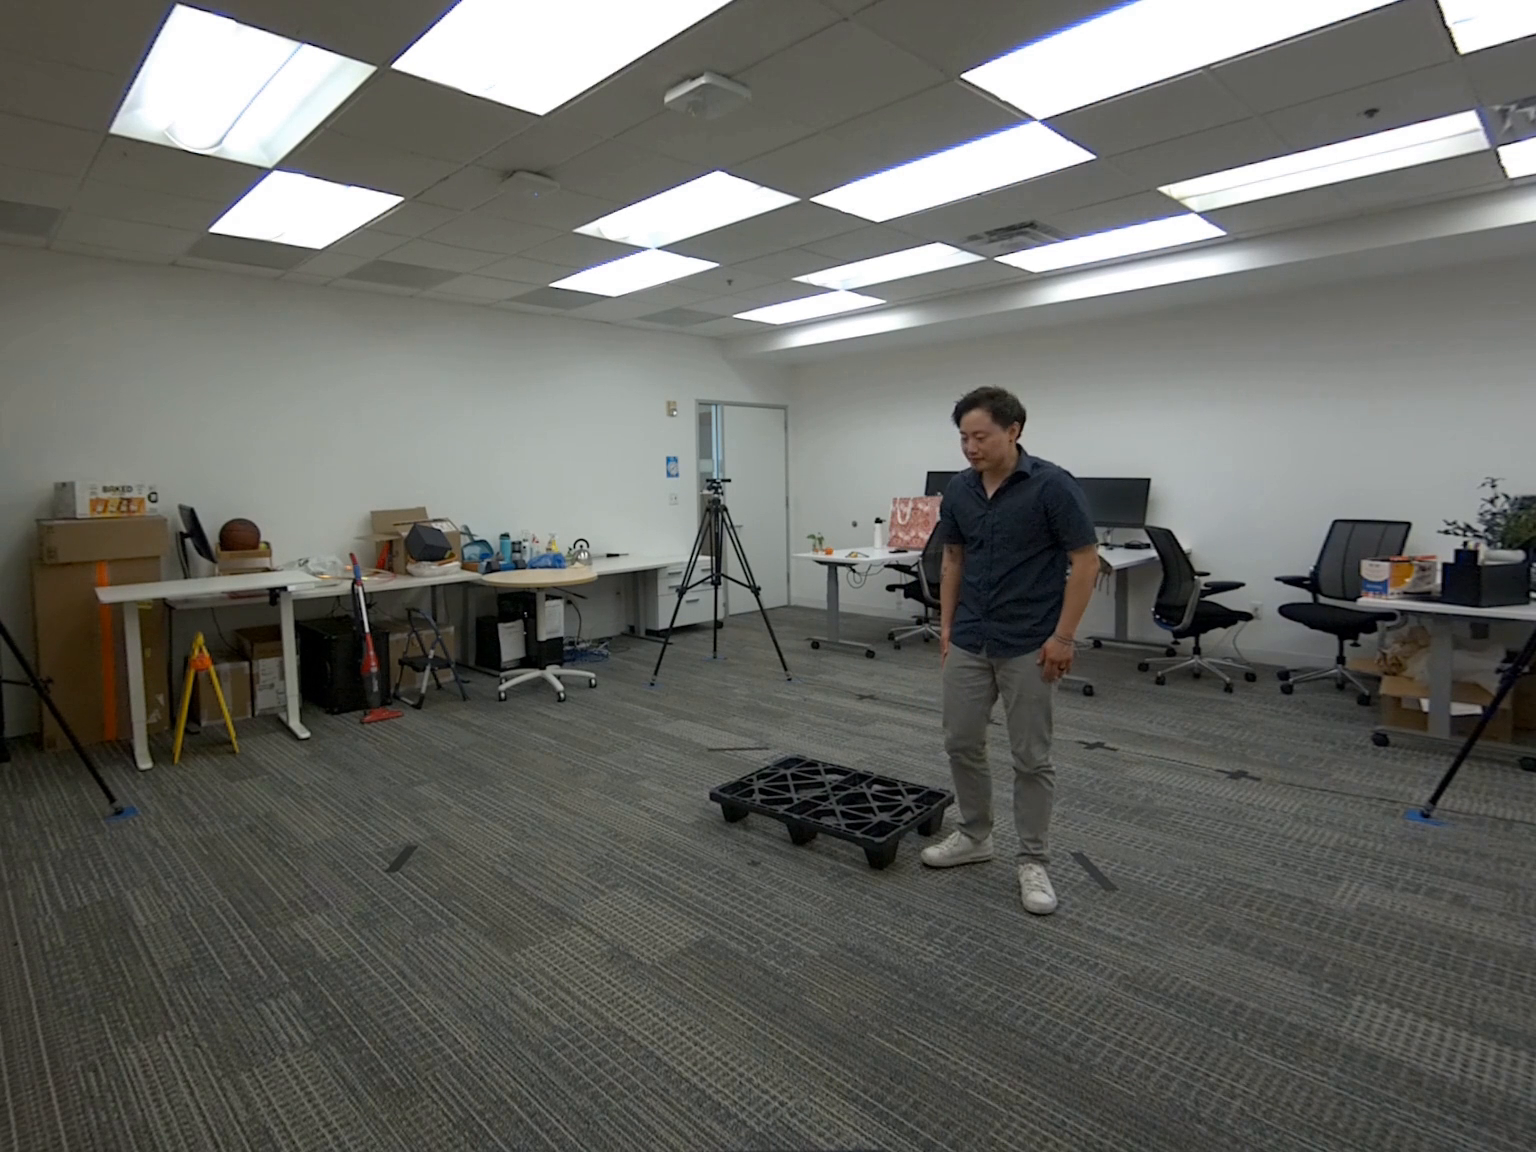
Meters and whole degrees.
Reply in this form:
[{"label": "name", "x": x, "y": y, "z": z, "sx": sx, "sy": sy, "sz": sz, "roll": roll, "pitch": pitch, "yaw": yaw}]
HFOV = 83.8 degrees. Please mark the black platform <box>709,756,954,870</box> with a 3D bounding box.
[{"label": "black platform", "x": 0.251, "y": 0.936, "z": 3.445, "sx": 0.830, "sy": 0.143, "sz": 0.589, "roll": 4, "pitch": 7, "yaw": 39}]
